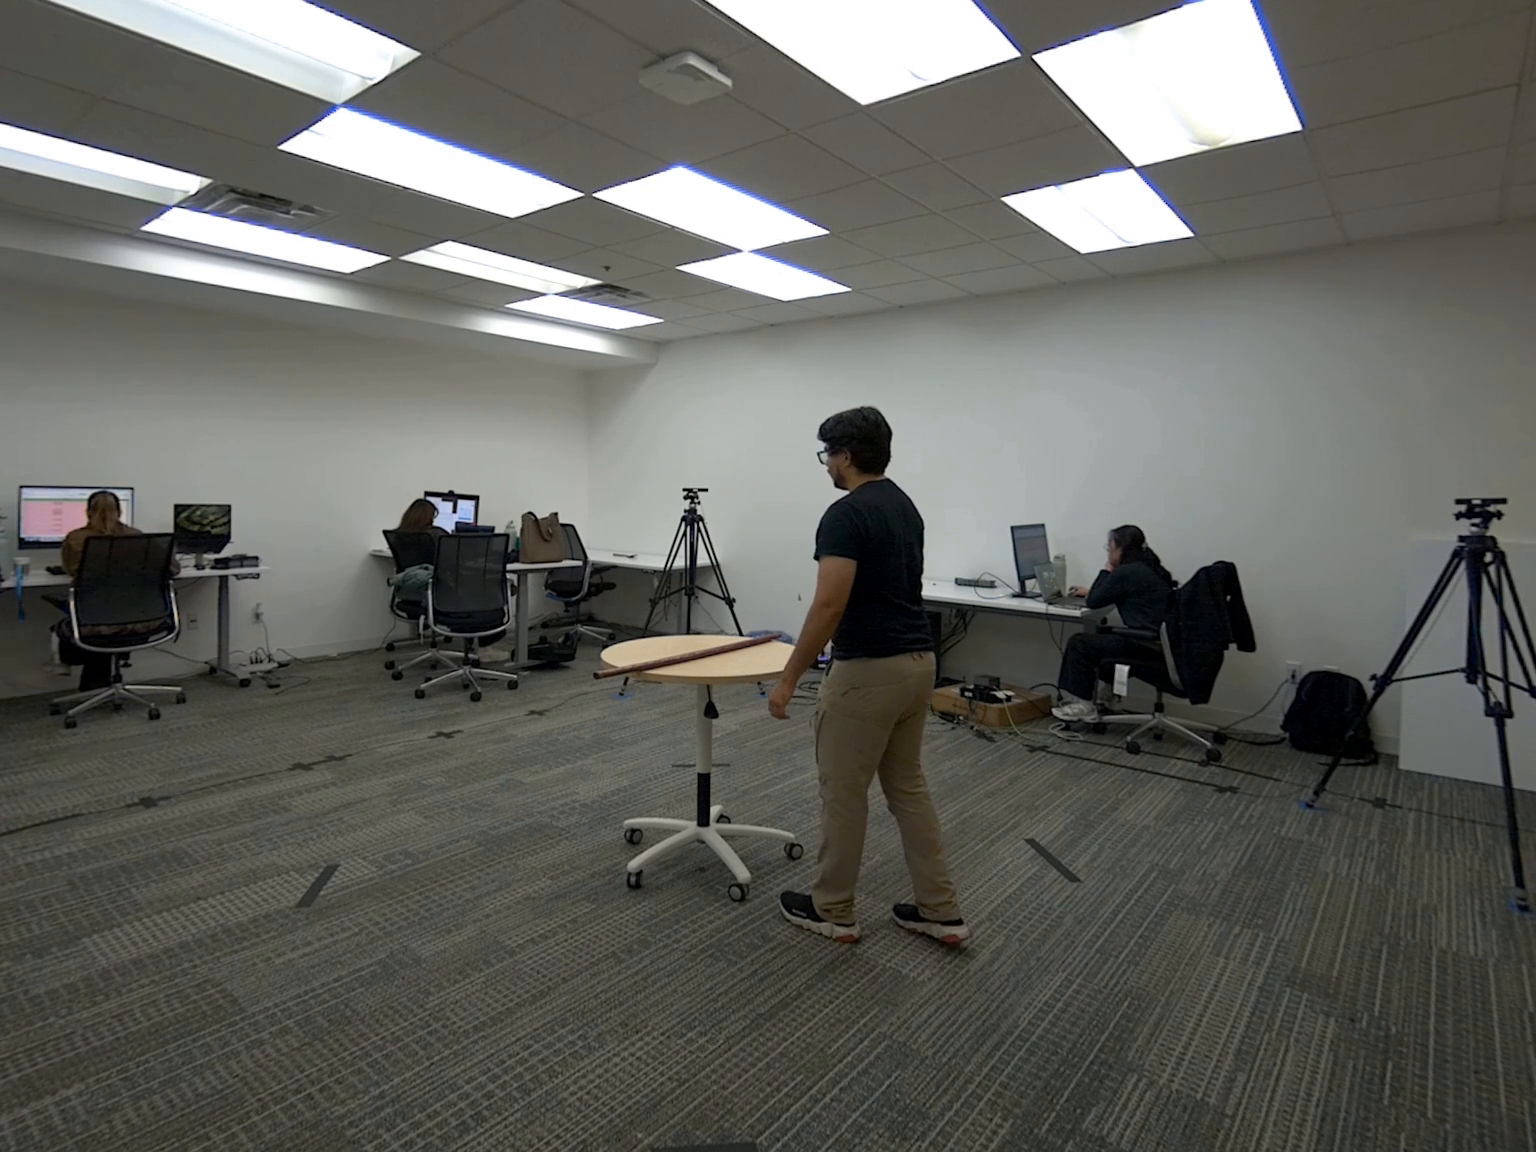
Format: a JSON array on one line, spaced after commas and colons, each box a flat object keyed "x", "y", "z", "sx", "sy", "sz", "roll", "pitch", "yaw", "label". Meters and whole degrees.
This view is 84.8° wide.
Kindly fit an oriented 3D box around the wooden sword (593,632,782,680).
[{"x": -0.259, "y": 0.285, "z": 3.097, "sx": 0.053, "sy": 0.024, "sz": 0.996, "roll": 2, "pitch": 6, "yaw": 37, "label": "wooden sword"}]
